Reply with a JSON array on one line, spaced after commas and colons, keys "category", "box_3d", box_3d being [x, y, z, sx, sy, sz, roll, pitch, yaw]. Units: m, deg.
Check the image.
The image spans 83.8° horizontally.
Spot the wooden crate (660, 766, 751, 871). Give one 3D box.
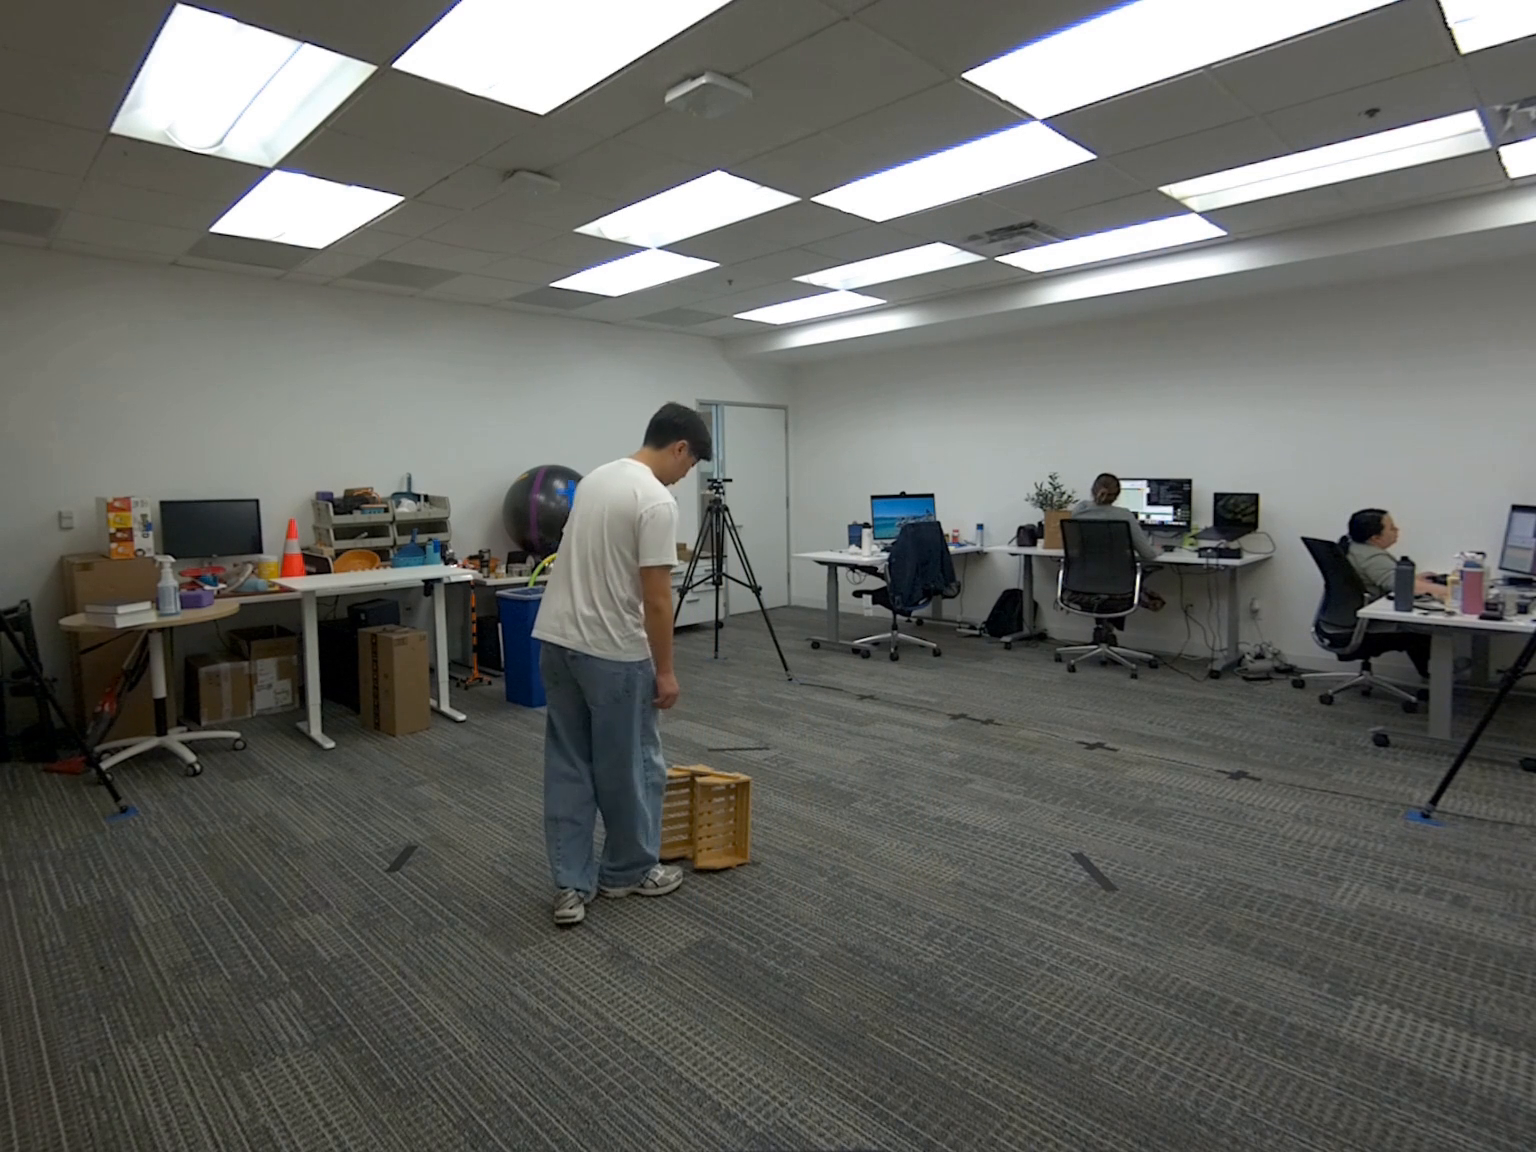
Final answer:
[{"category": "wooden crate", "box_3d": [-0.253, 0.880, 3.123, 0.293, 0.325, 0.281, 2, -2, -38]}]
